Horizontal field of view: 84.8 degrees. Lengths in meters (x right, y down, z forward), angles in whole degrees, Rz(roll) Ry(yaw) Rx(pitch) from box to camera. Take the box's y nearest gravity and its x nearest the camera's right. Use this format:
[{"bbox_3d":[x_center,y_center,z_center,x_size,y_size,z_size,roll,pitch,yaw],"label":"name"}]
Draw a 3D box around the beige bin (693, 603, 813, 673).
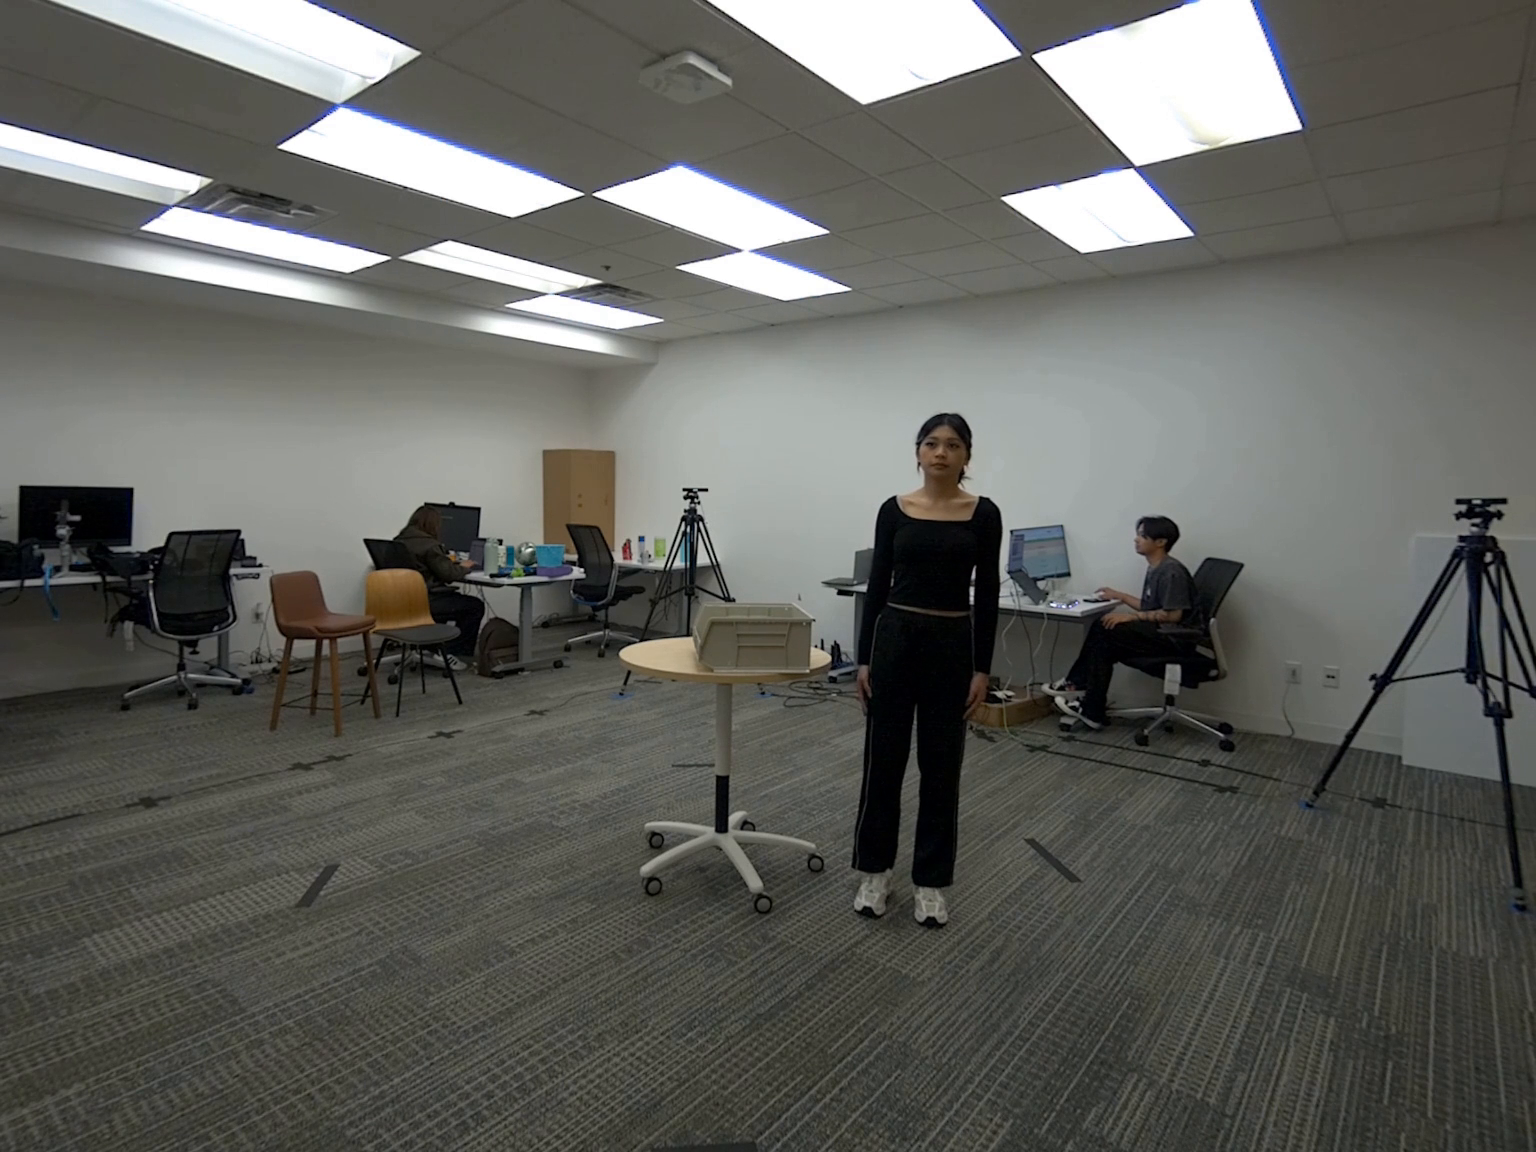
[{"bbox_3d":[-0.077,0.206,2.940,0.375,0.188,0.426,2,4,-7],"label":"beige bin"}]
